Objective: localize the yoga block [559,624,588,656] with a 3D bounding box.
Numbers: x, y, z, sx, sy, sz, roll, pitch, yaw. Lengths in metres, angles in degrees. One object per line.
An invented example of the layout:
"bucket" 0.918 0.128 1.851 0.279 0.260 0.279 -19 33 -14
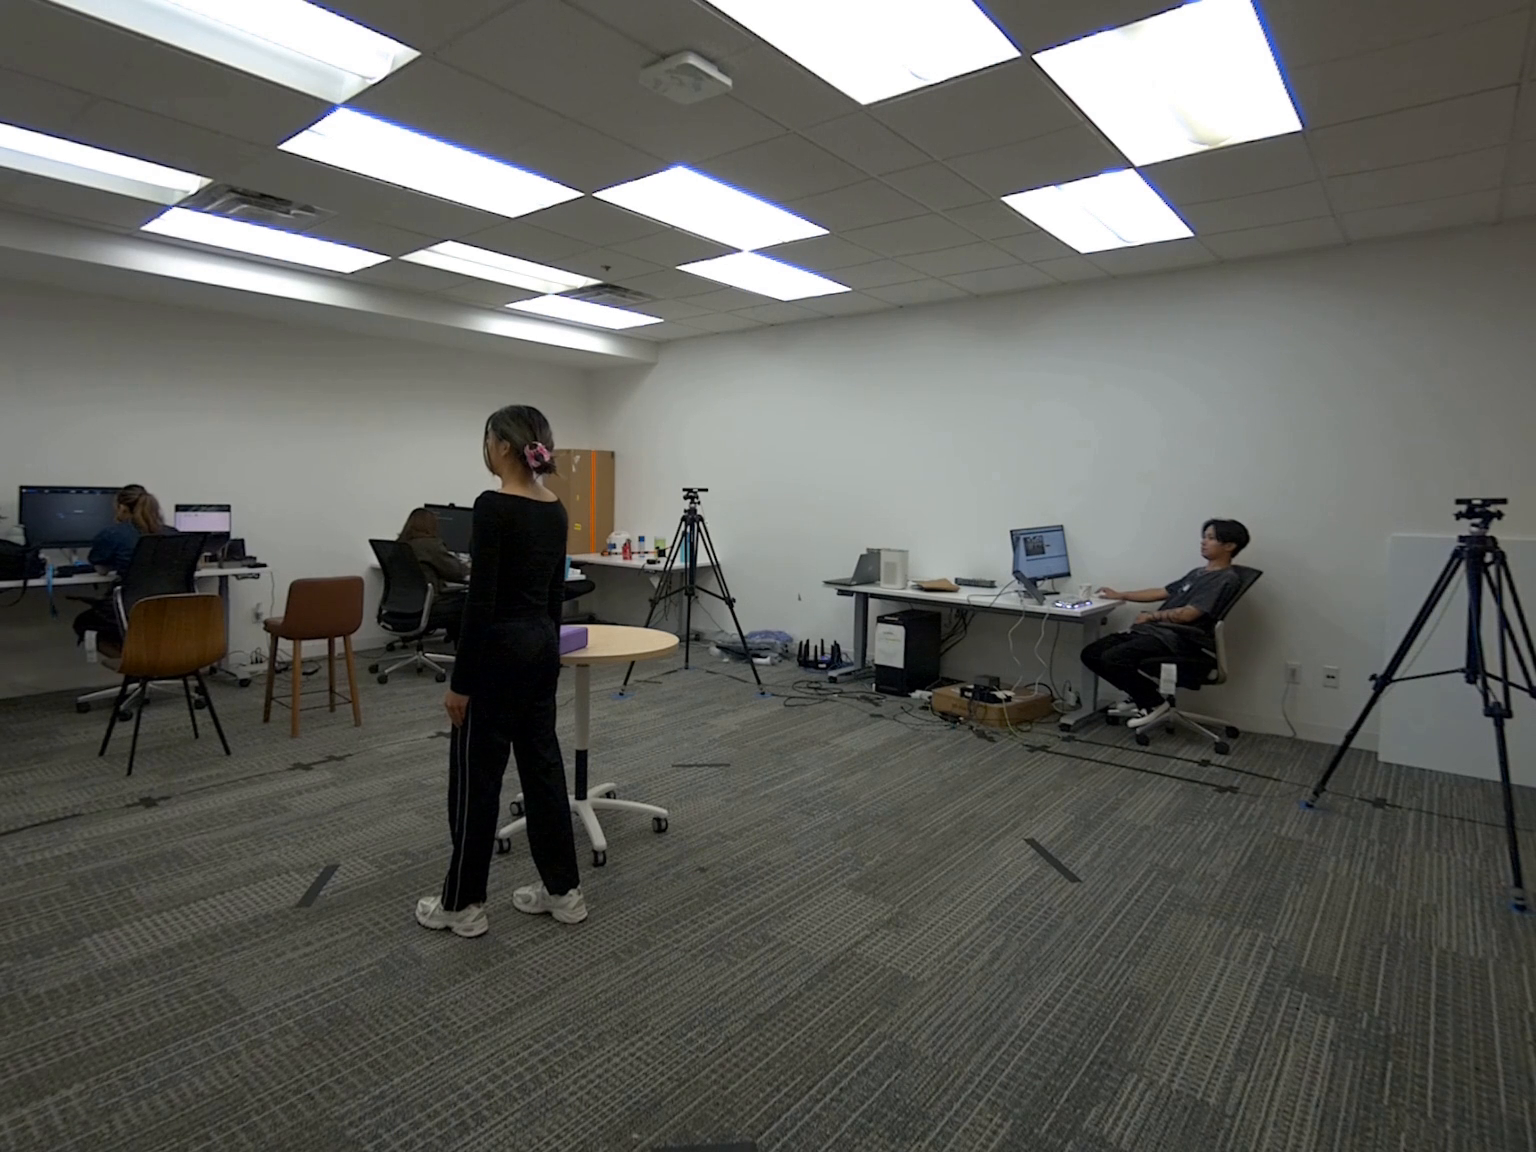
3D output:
"yoga block" -0.798 0.235 3.133 0.152 0.076 0.225 1 4 18
